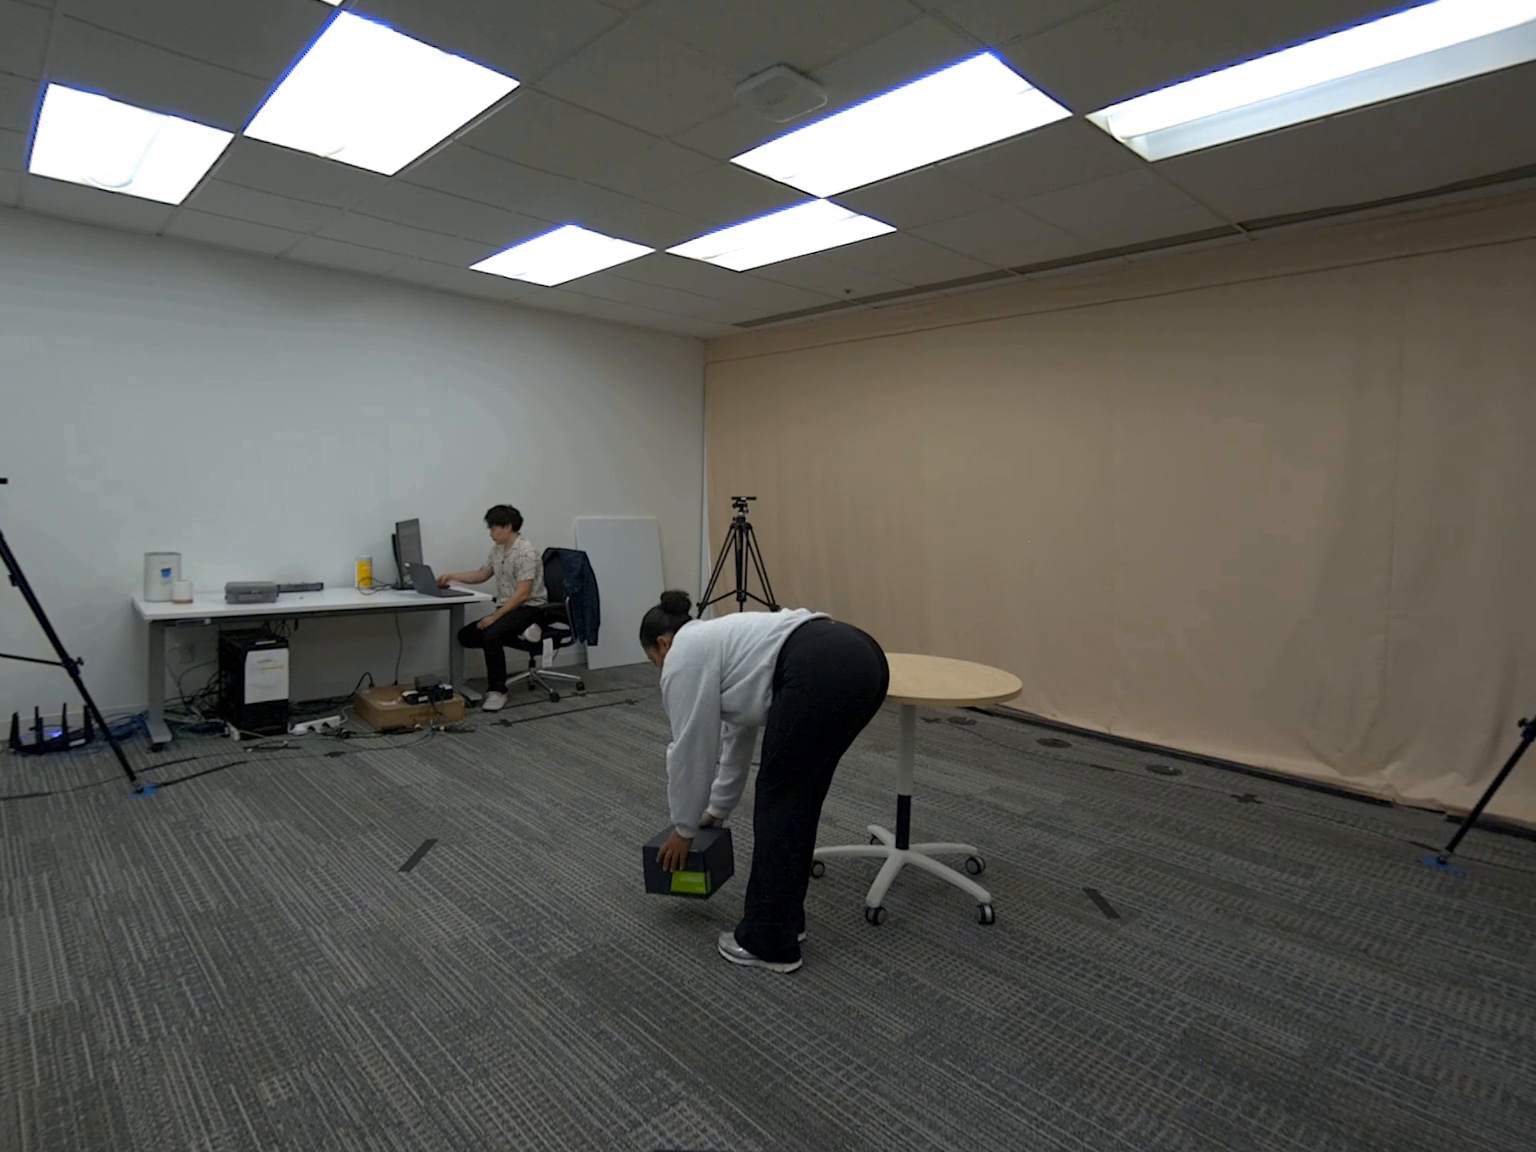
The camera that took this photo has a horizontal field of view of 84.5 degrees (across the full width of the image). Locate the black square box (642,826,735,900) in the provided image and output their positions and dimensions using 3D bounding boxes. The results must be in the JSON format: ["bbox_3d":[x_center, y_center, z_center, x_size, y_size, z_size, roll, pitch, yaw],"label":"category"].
[{"bbox_3d":[-0.267,0.931,2.791,0.232,0.155,0.214,-2,3,24],"label":"black square box"}]
